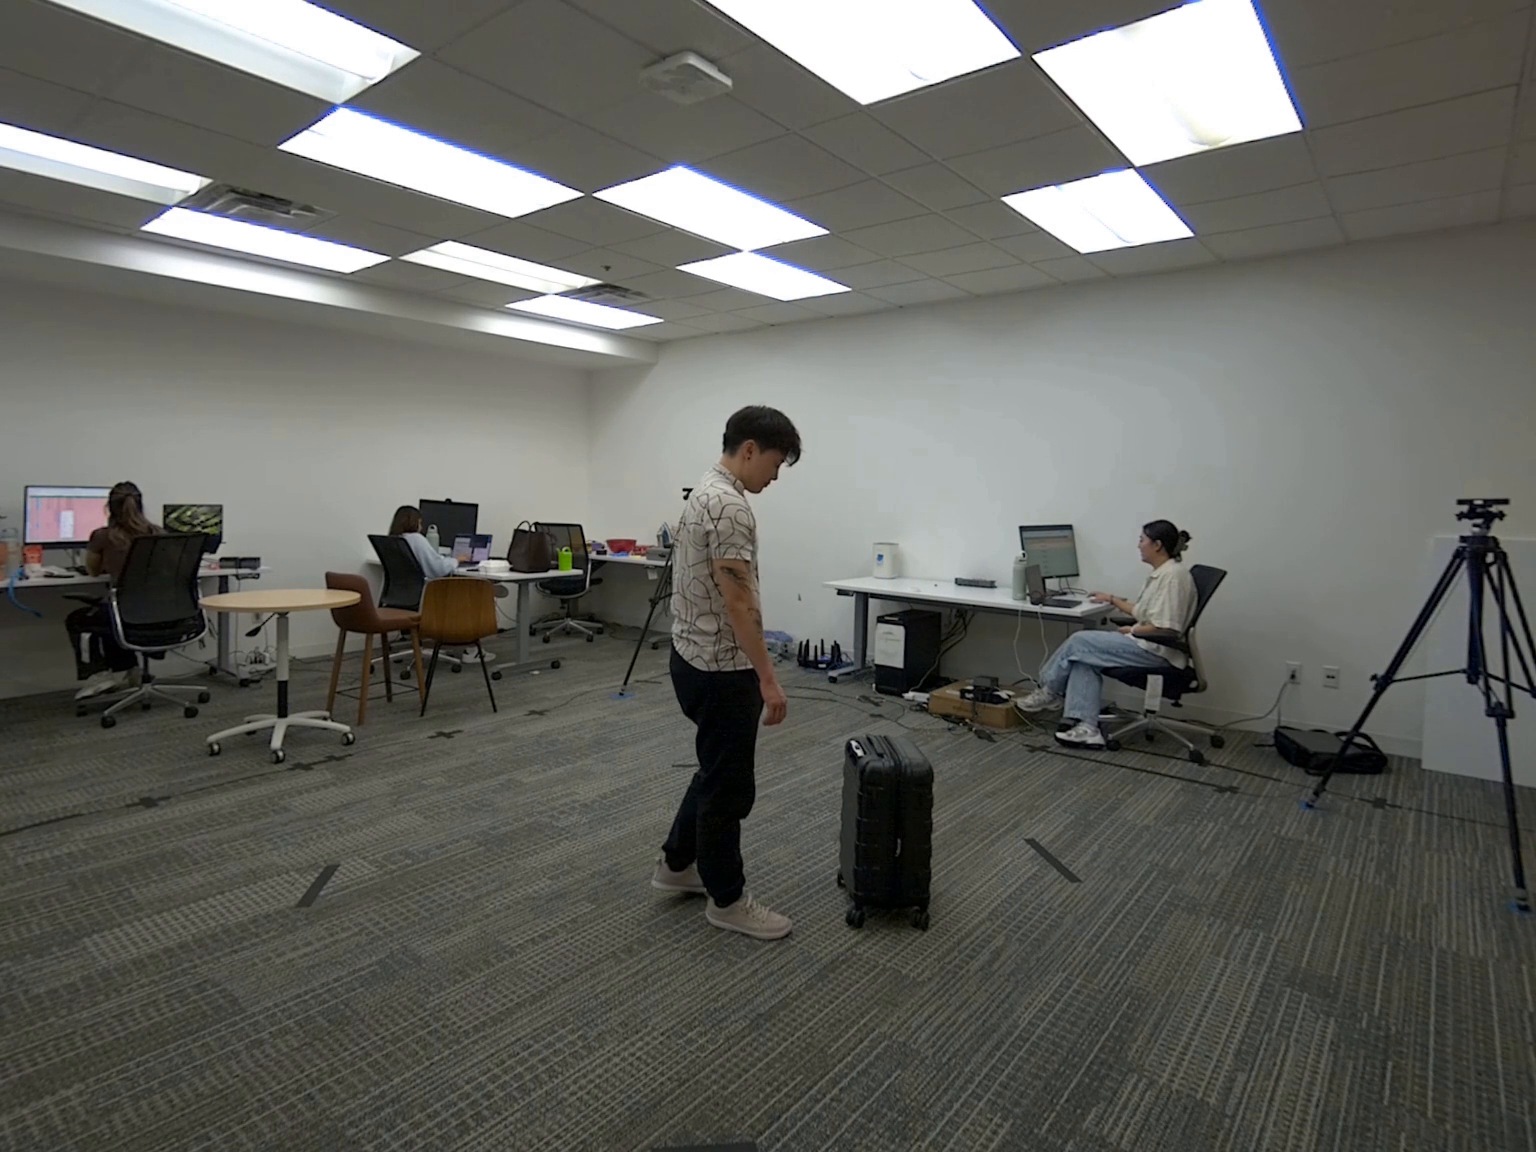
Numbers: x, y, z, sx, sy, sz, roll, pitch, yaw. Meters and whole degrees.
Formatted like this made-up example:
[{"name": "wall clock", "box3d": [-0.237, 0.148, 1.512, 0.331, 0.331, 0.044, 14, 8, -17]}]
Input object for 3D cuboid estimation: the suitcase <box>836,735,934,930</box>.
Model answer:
[{"name": "suitcase", "box3d": [0.387, 0.833, 2.876, 0.248, 0.548, 0.377, 2, 3, -4]}]
